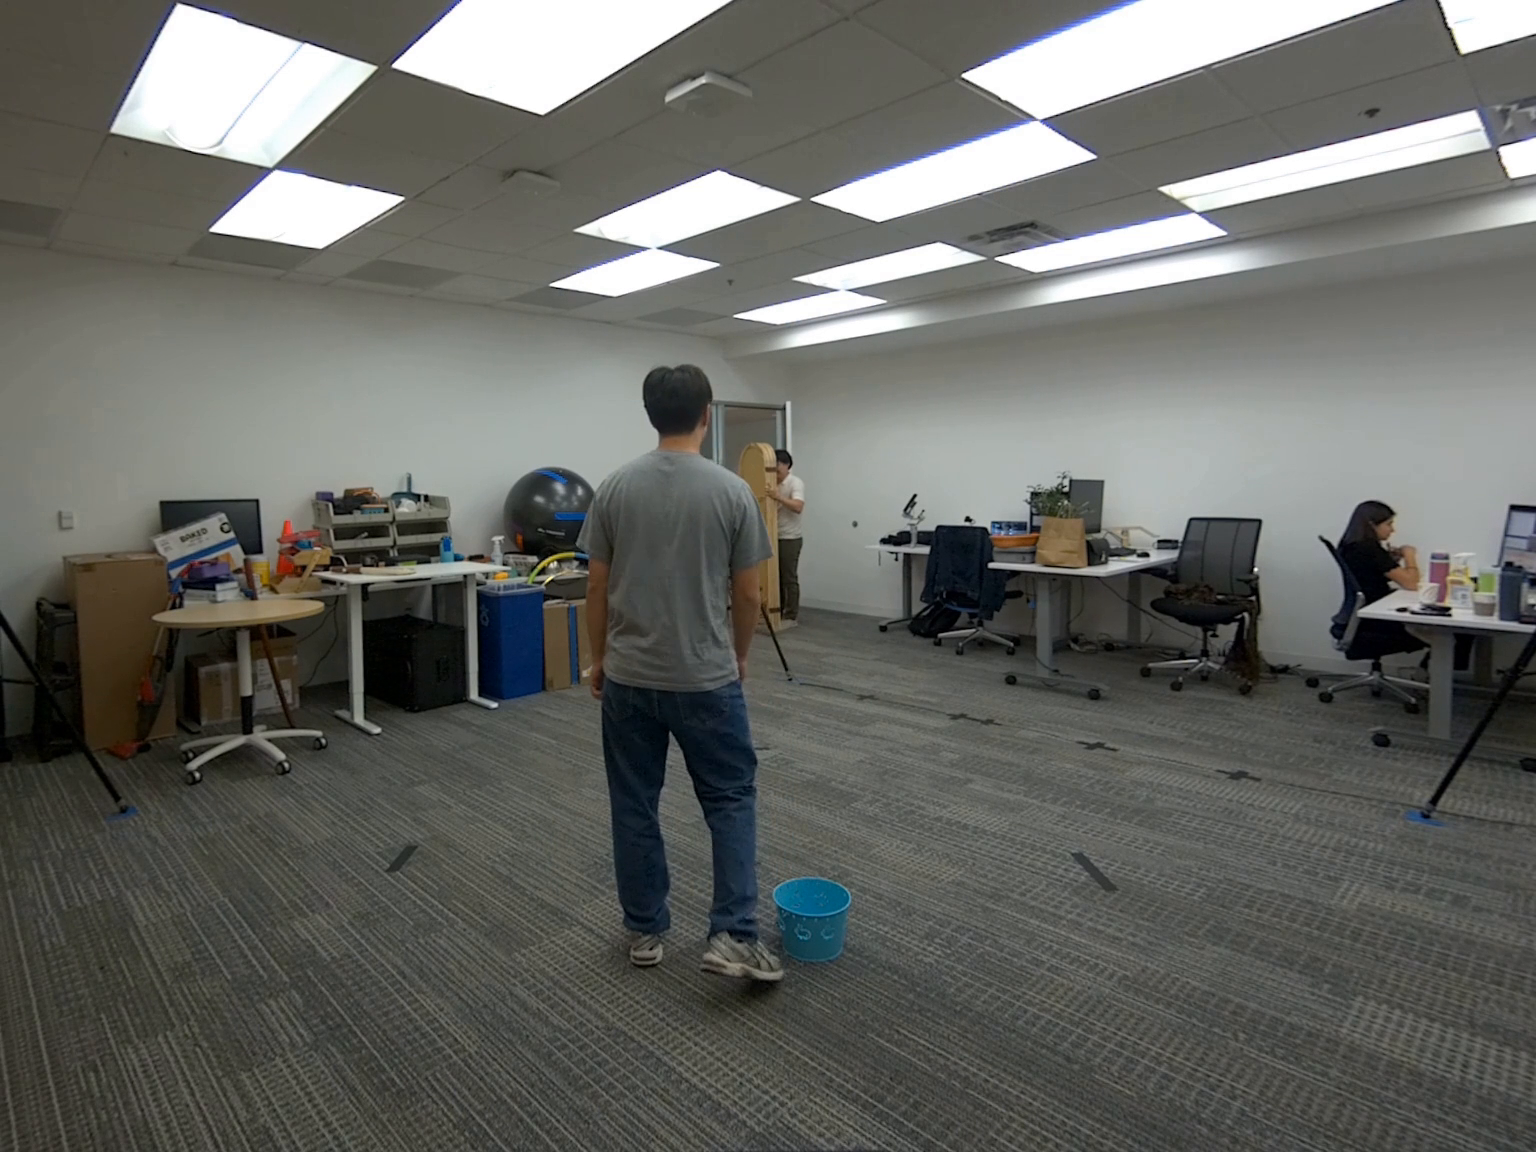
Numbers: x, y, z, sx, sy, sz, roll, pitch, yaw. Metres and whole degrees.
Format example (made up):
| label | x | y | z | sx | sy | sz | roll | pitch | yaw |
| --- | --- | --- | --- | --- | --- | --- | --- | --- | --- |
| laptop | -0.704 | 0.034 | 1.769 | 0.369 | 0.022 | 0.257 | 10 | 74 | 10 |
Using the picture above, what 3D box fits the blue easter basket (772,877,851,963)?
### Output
| label | x | y | z | sx | sy | sz | roll | pitch | yaw |
| --- | --- | --- | --- | --- | --- | --- | --- | --- | --- |
| blue easter basket | 0.137 | 1.027 | 2.557 | 0.243 | 0.155 | 0.245 | -1 | 6 | -2 |
